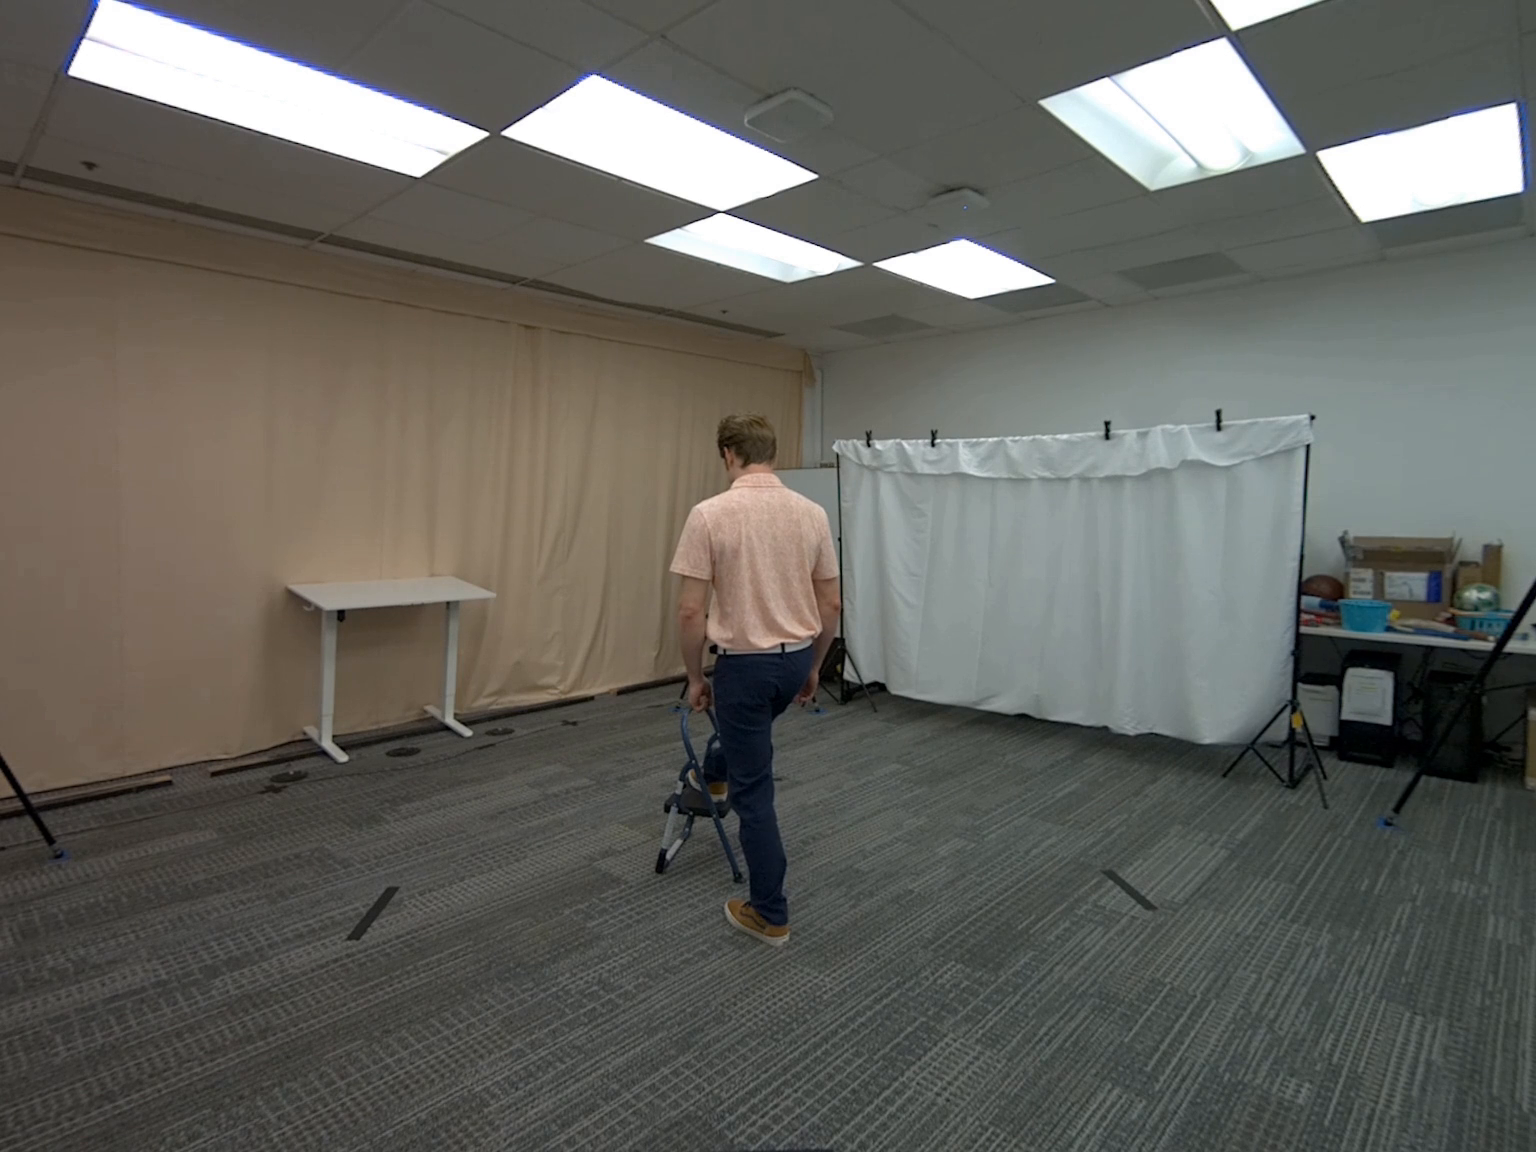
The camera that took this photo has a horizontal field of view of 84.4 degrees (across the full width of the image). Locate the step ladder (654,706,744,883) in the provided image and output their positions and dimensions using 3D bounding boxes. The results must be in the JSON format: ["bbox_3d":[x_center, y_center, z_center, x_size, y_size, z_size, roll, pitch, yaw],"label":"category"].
[{"bbox_3d":[-0.228,0.815,3.337,0.354,0.605,0.426,0,3,11],"label":"step ladder"}]
